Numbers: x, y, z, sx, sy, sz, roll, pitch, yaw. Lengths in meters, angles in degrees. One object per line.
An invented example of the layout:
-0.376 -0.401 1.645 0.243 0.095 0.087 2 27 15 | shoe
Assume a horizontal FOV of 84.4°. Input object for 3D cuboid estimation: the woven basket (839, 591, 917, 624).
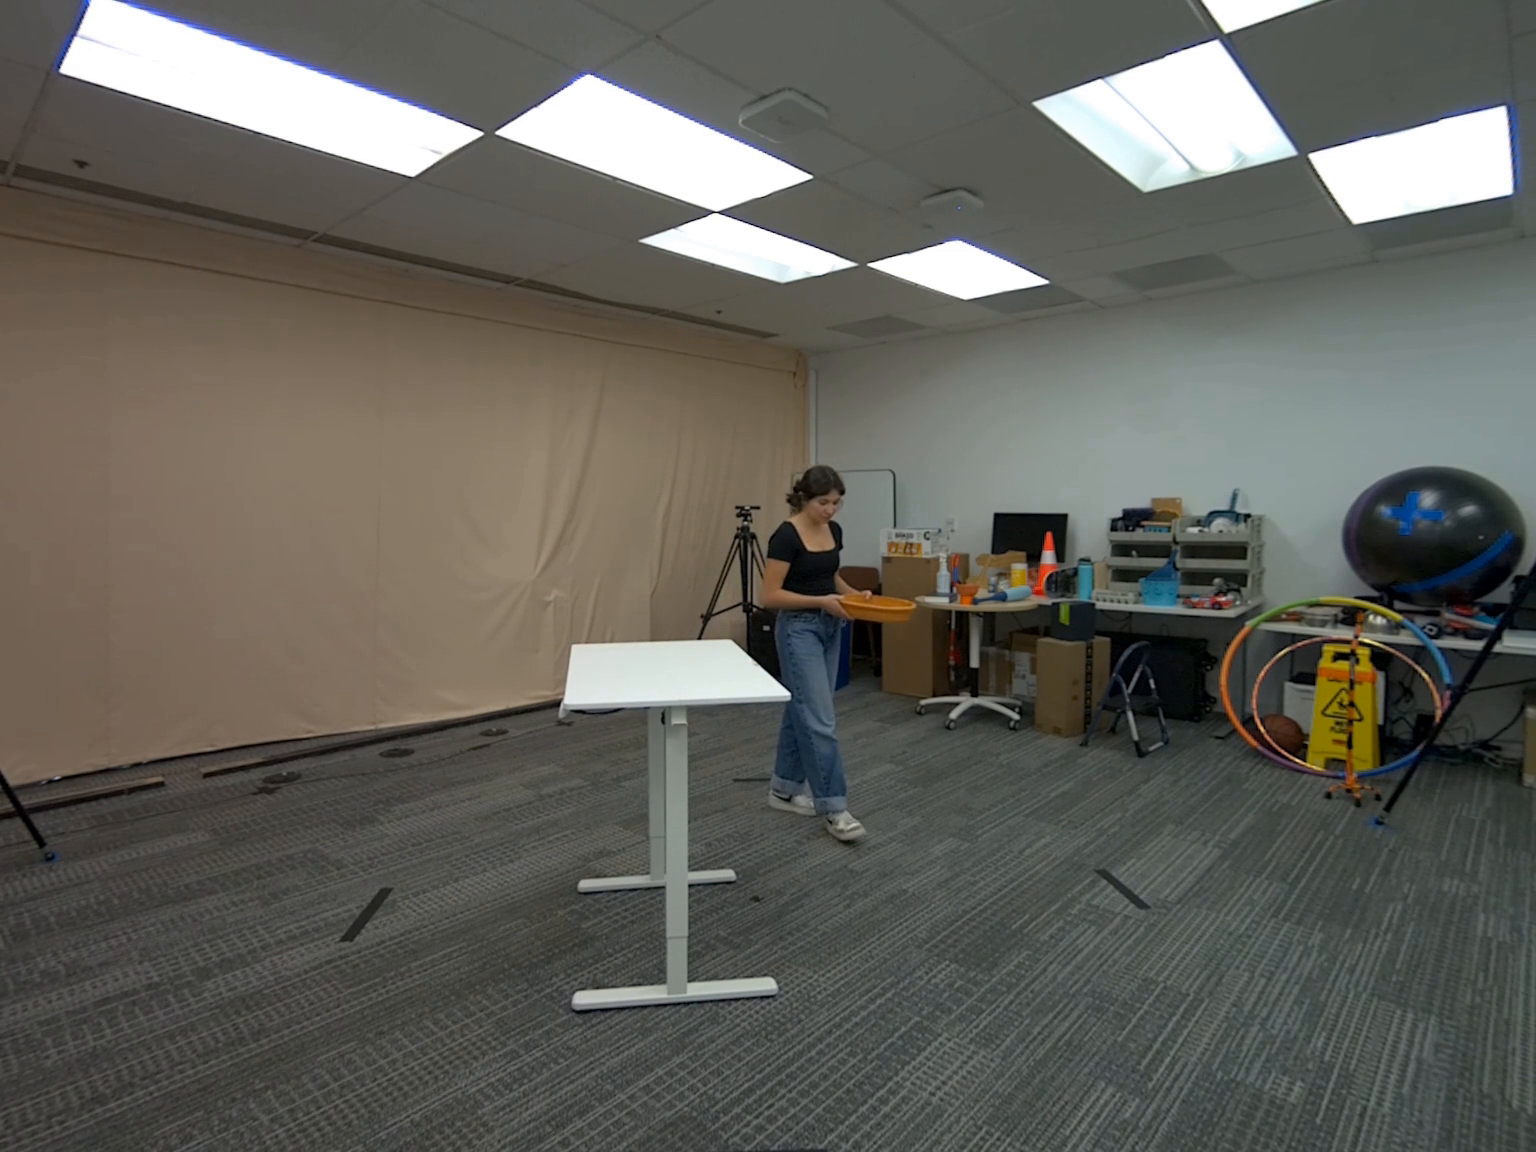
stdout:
0.461 0.145 3.558 0.363 0.073 0.245 10 12 43 | woven basket
